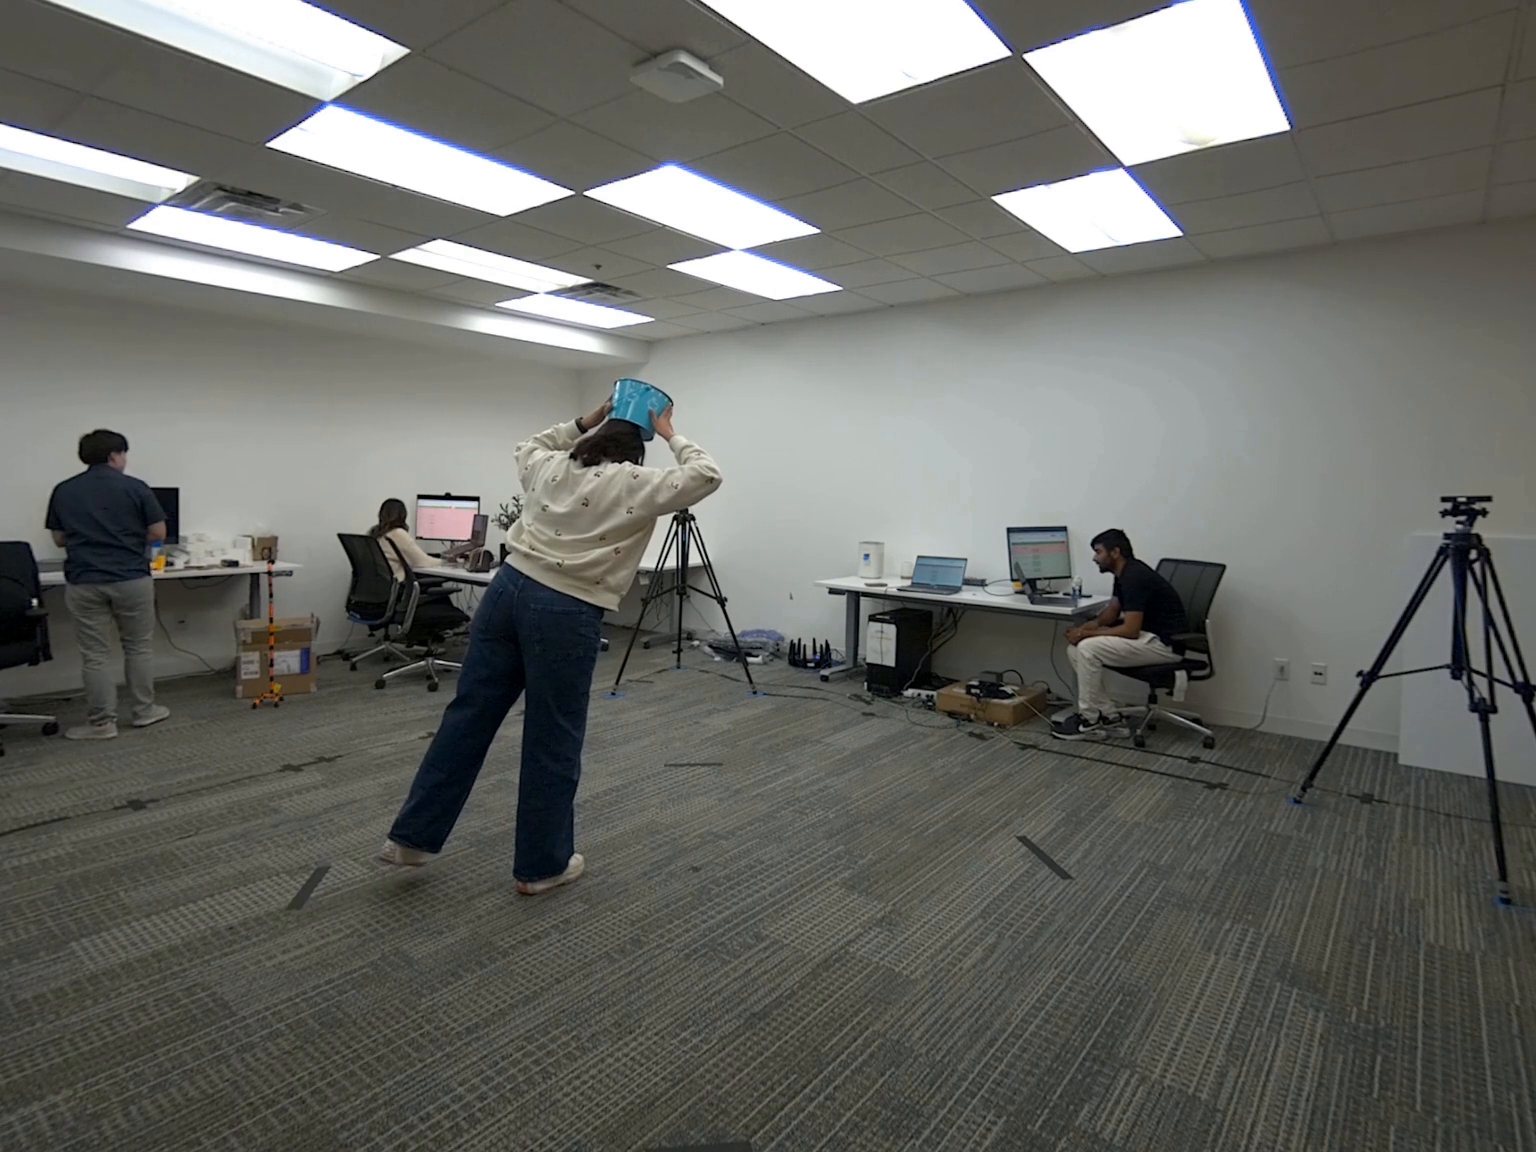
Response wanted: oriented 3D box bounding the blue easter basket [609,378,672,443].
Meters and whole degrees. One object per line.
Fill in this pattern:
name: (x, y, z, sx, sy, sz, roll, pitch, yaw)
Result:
blue easter basket: (-0.502, -0.614, 3.158, 0.245, 0.157, 0.240, 19, -14, 3)
